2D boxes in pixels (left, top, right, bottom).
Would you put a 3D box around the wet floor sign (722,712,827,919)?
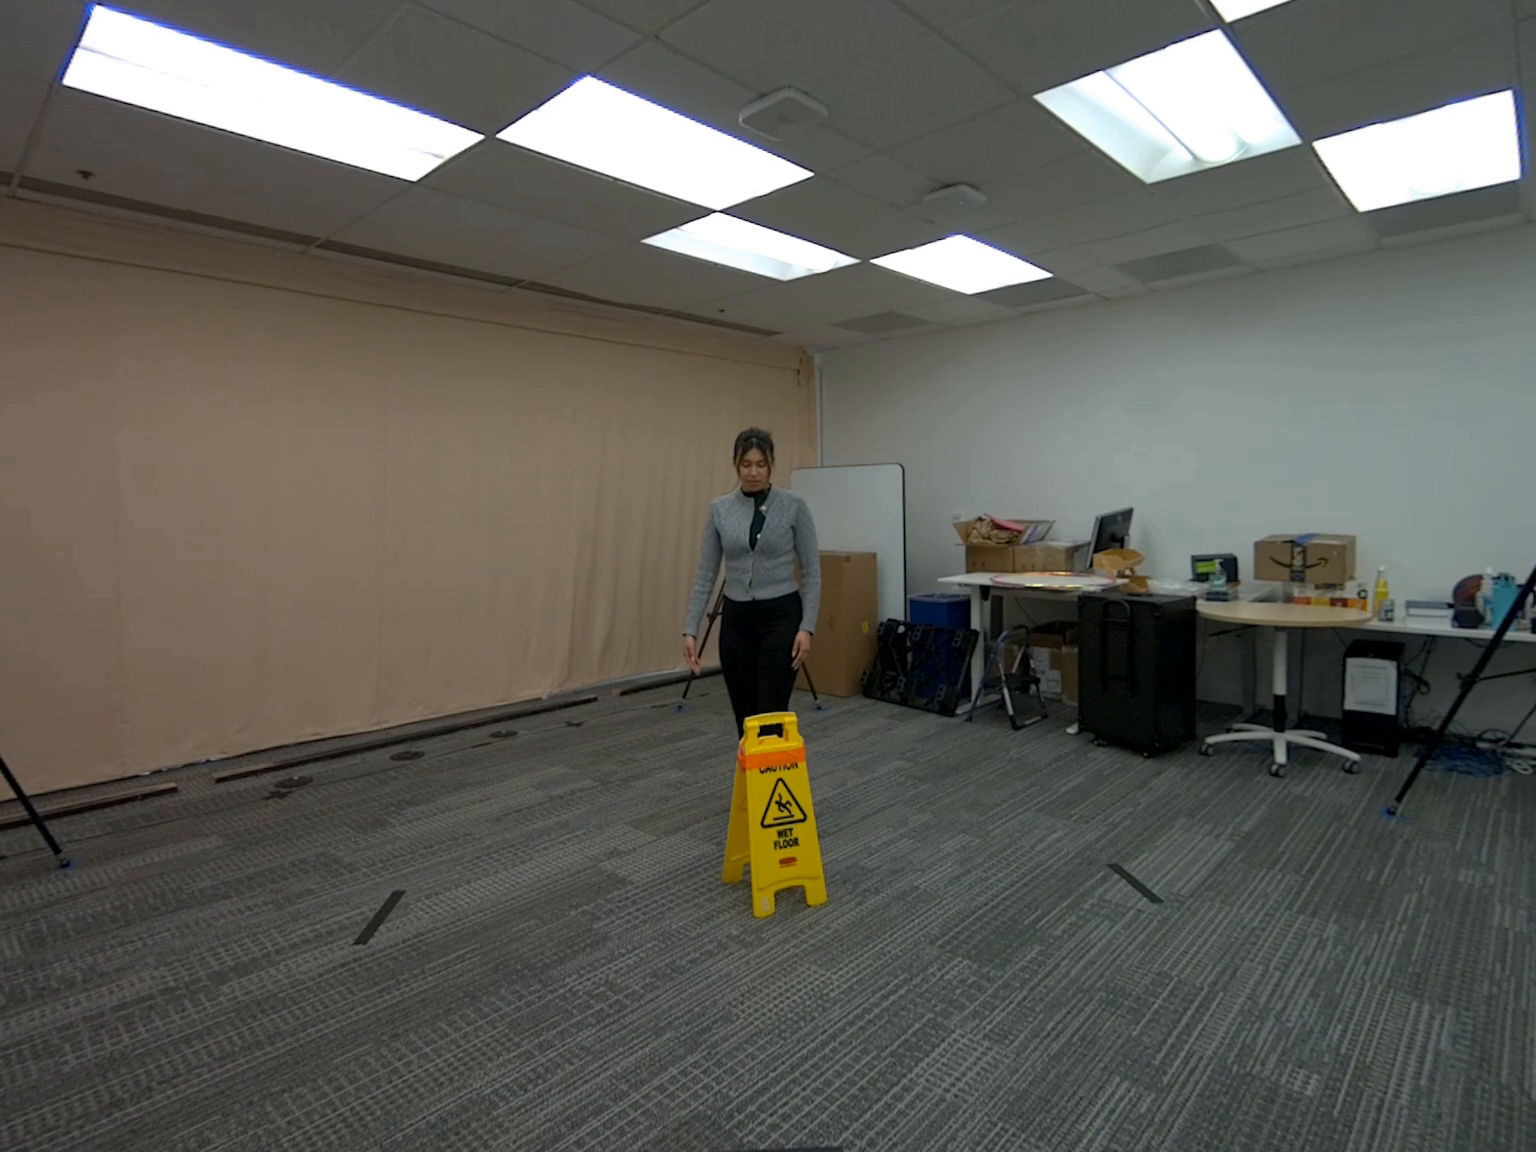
[{"bbox_3d":[0.015,0.808,3.002,0.276,0.644,0.297,-4,5,-24],"label":"wet floor sign"}]
